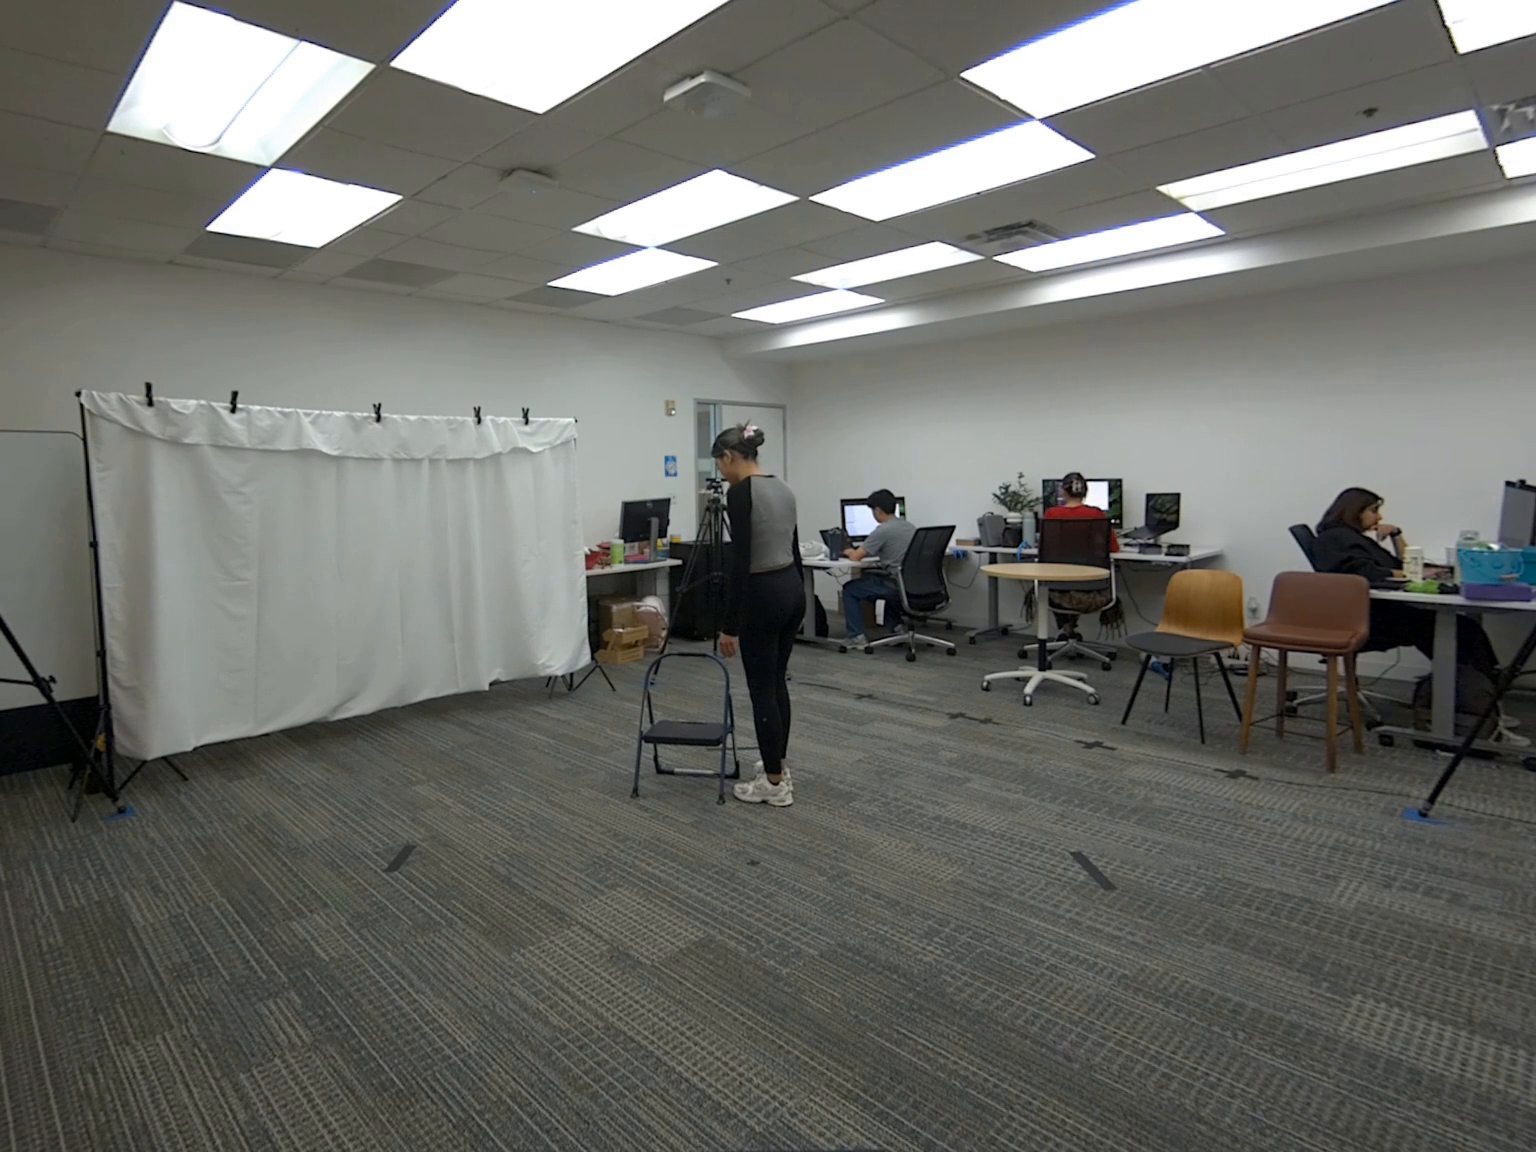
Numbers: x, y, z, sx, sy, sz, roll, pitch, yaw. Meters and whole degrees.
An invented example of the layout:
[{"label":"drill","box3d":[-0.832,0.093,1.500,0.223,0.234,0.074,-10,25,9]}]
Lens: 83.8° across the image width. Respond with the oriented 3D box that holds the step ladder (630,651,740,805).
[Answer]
[{"label":"step ladder","box3d":[-0.372,0.661,3.875,0.436,0.604,0.346,0,5,13]}]
